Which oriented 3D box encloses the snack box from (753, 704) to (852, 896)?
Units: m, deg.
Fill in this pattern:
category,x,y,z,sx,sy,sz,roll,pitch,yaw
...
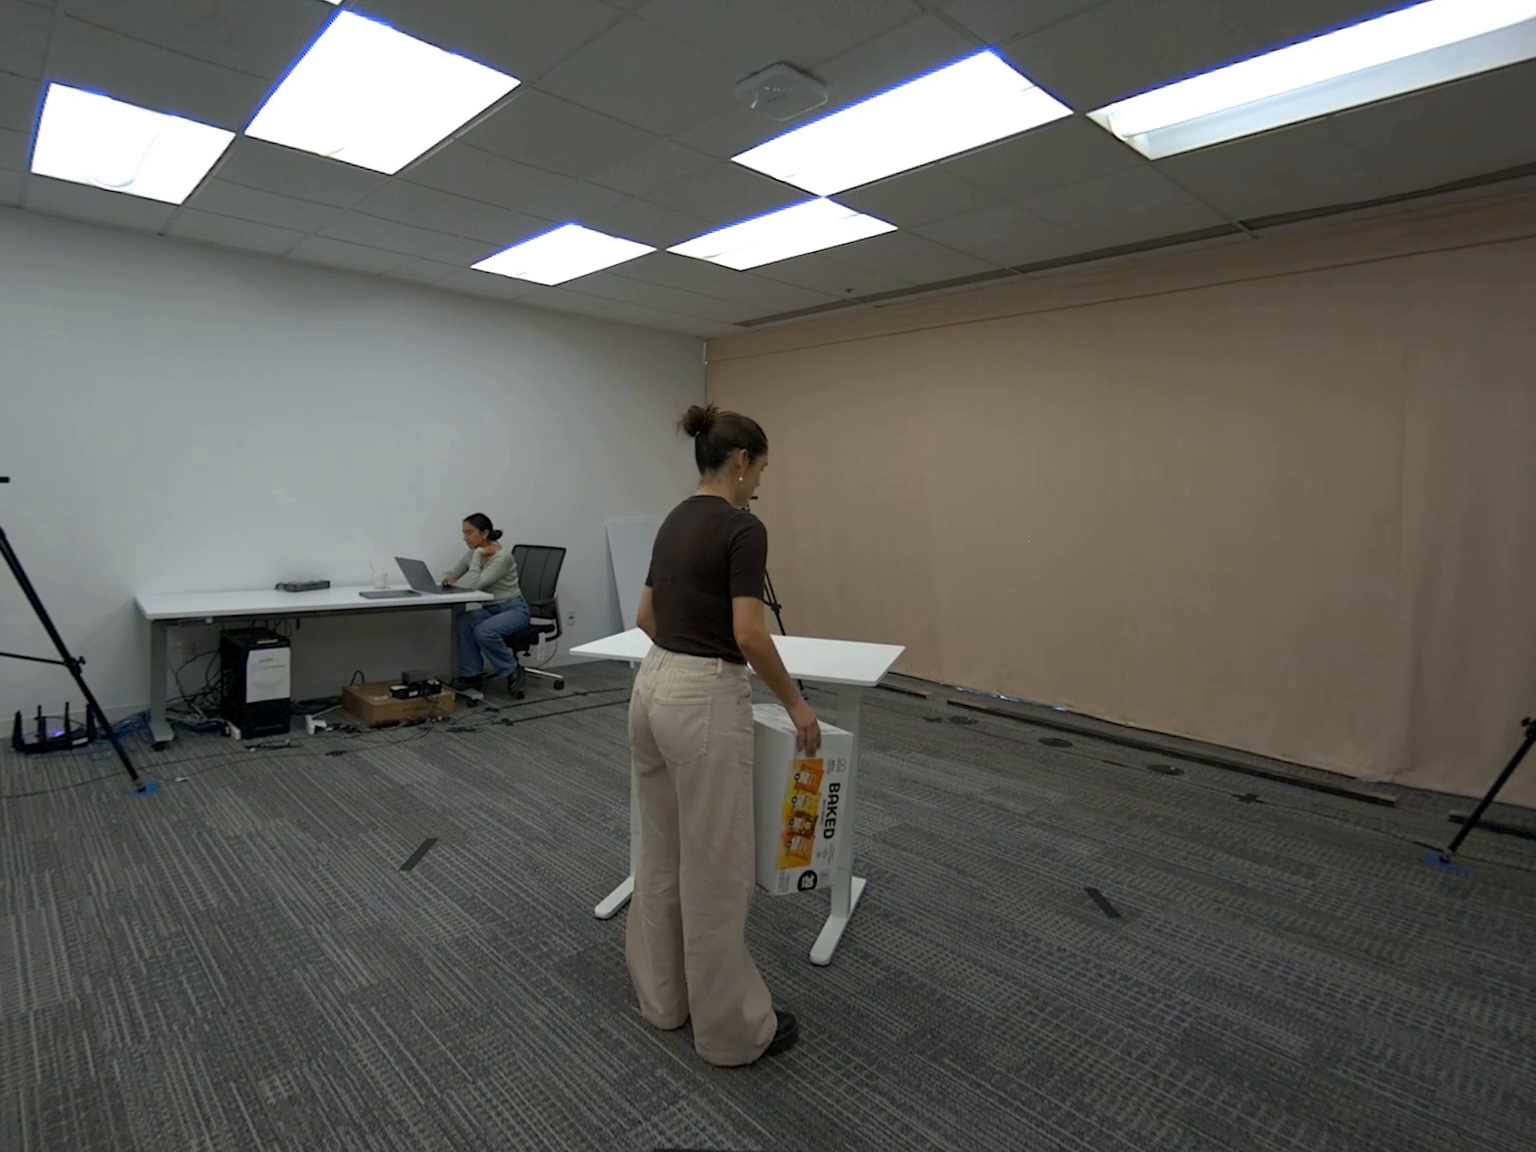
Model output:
category,x,y,z,sx,sy,sz,roll,pitch,yaw
snack box,0.014,0.591,2.276,0.201,0.405,0.349,6,1,-36
